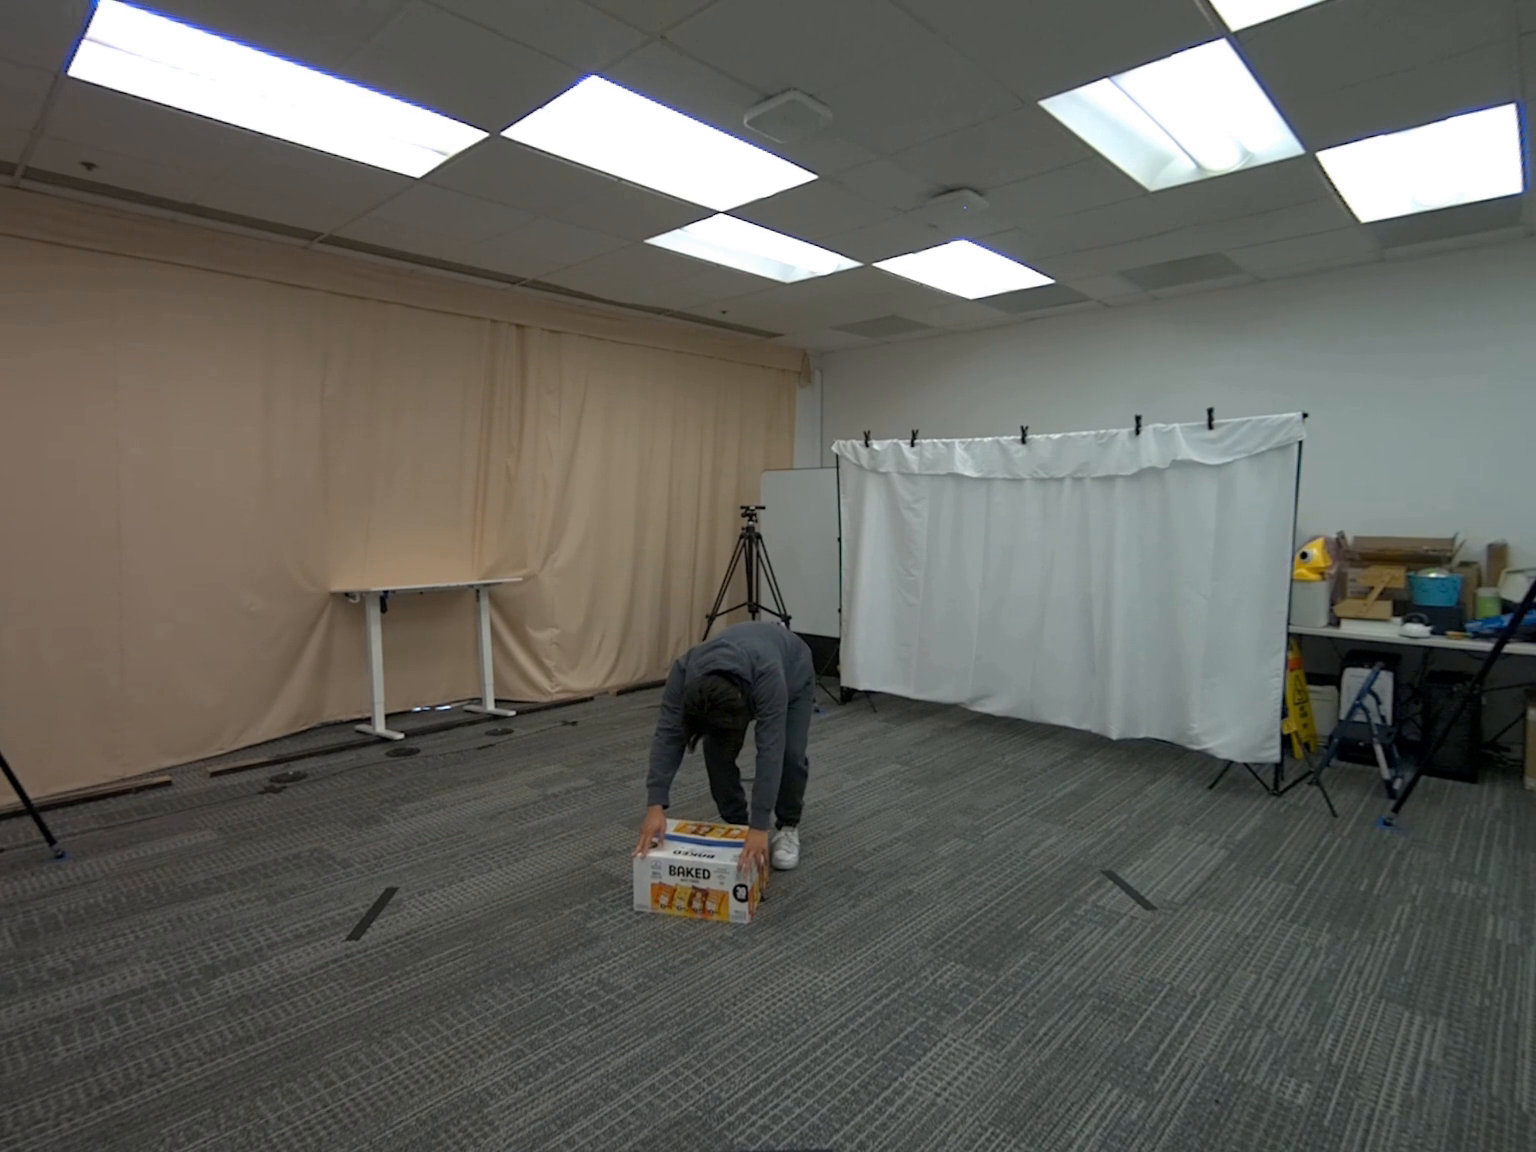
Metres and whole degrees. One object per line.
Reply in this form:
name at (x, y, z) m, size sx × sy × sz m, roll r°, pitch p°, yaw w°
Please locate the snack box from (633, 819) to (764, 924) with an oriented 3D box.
snack box at (-0.227, 1.045, 3.005) m, size 0.411 × 0.205 × 0.336 m, roll 1°, pitch 4°, yaw 13°
